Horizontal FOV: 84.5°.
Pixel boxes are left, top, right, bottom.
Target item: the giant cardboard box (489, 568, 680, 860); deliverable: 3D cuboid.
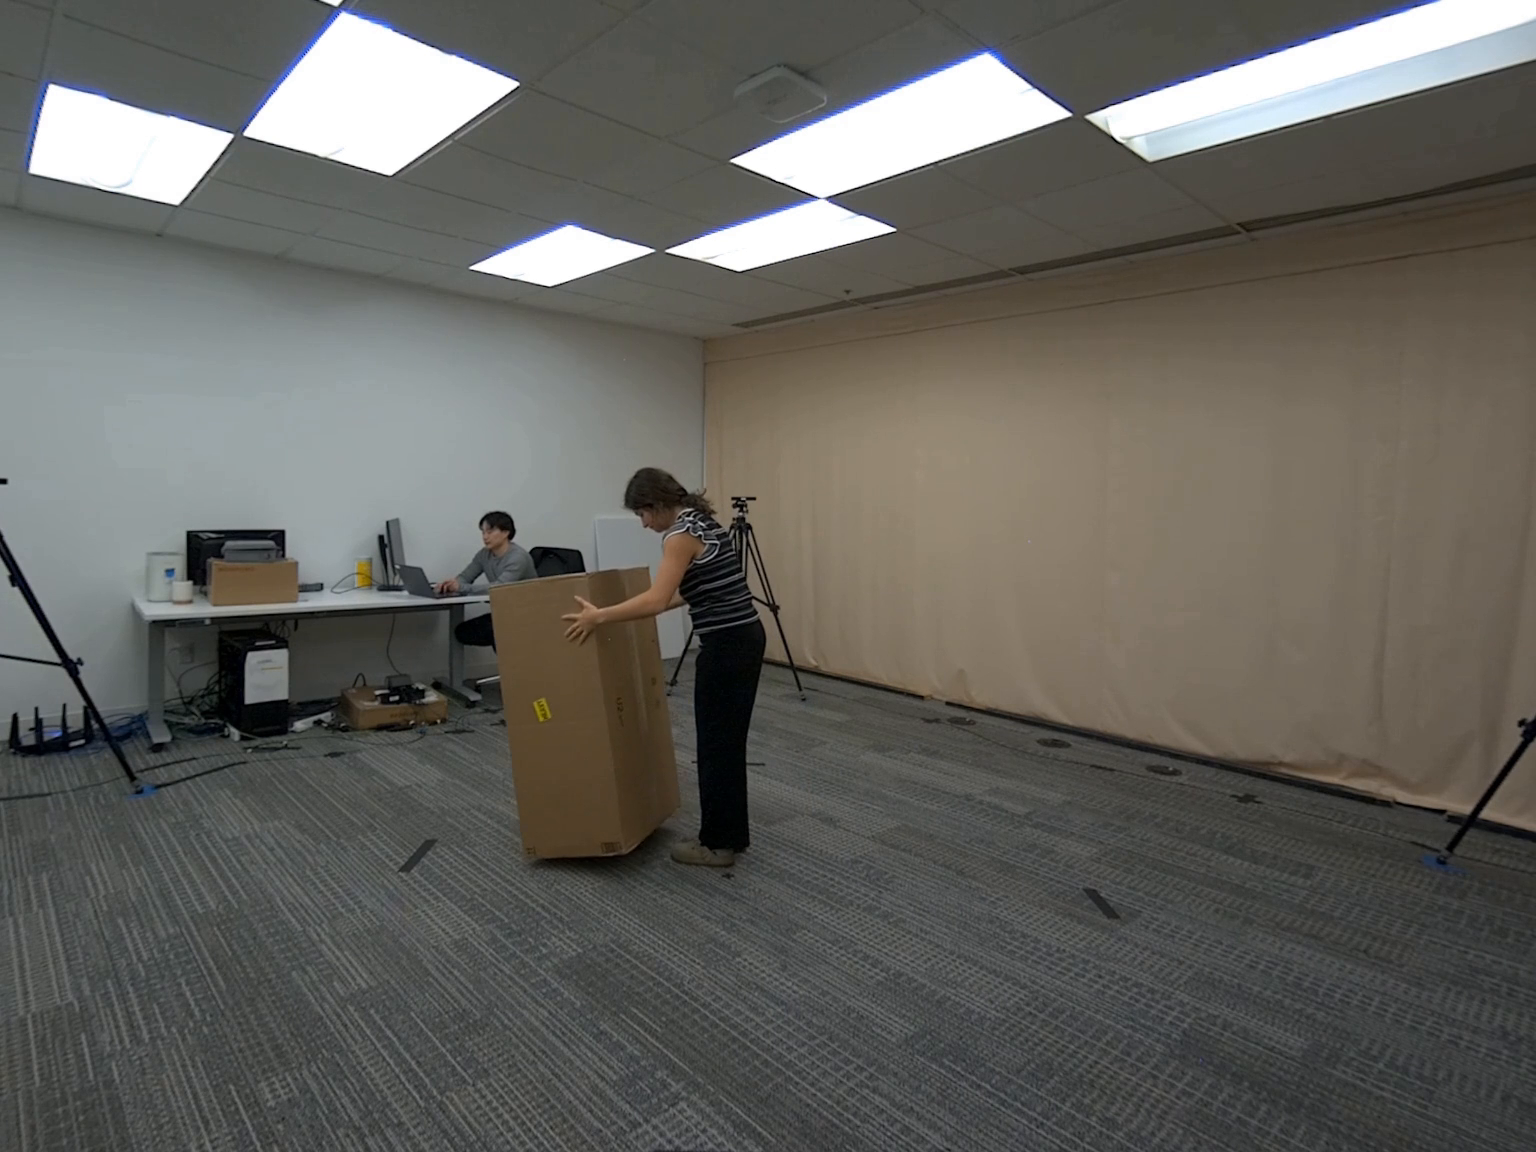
[{"bbox_3d":[-0.704,0.511,3.351,0.431,1.027,0.570,-7,-1,16],"label":"giant cardboard box"}]
